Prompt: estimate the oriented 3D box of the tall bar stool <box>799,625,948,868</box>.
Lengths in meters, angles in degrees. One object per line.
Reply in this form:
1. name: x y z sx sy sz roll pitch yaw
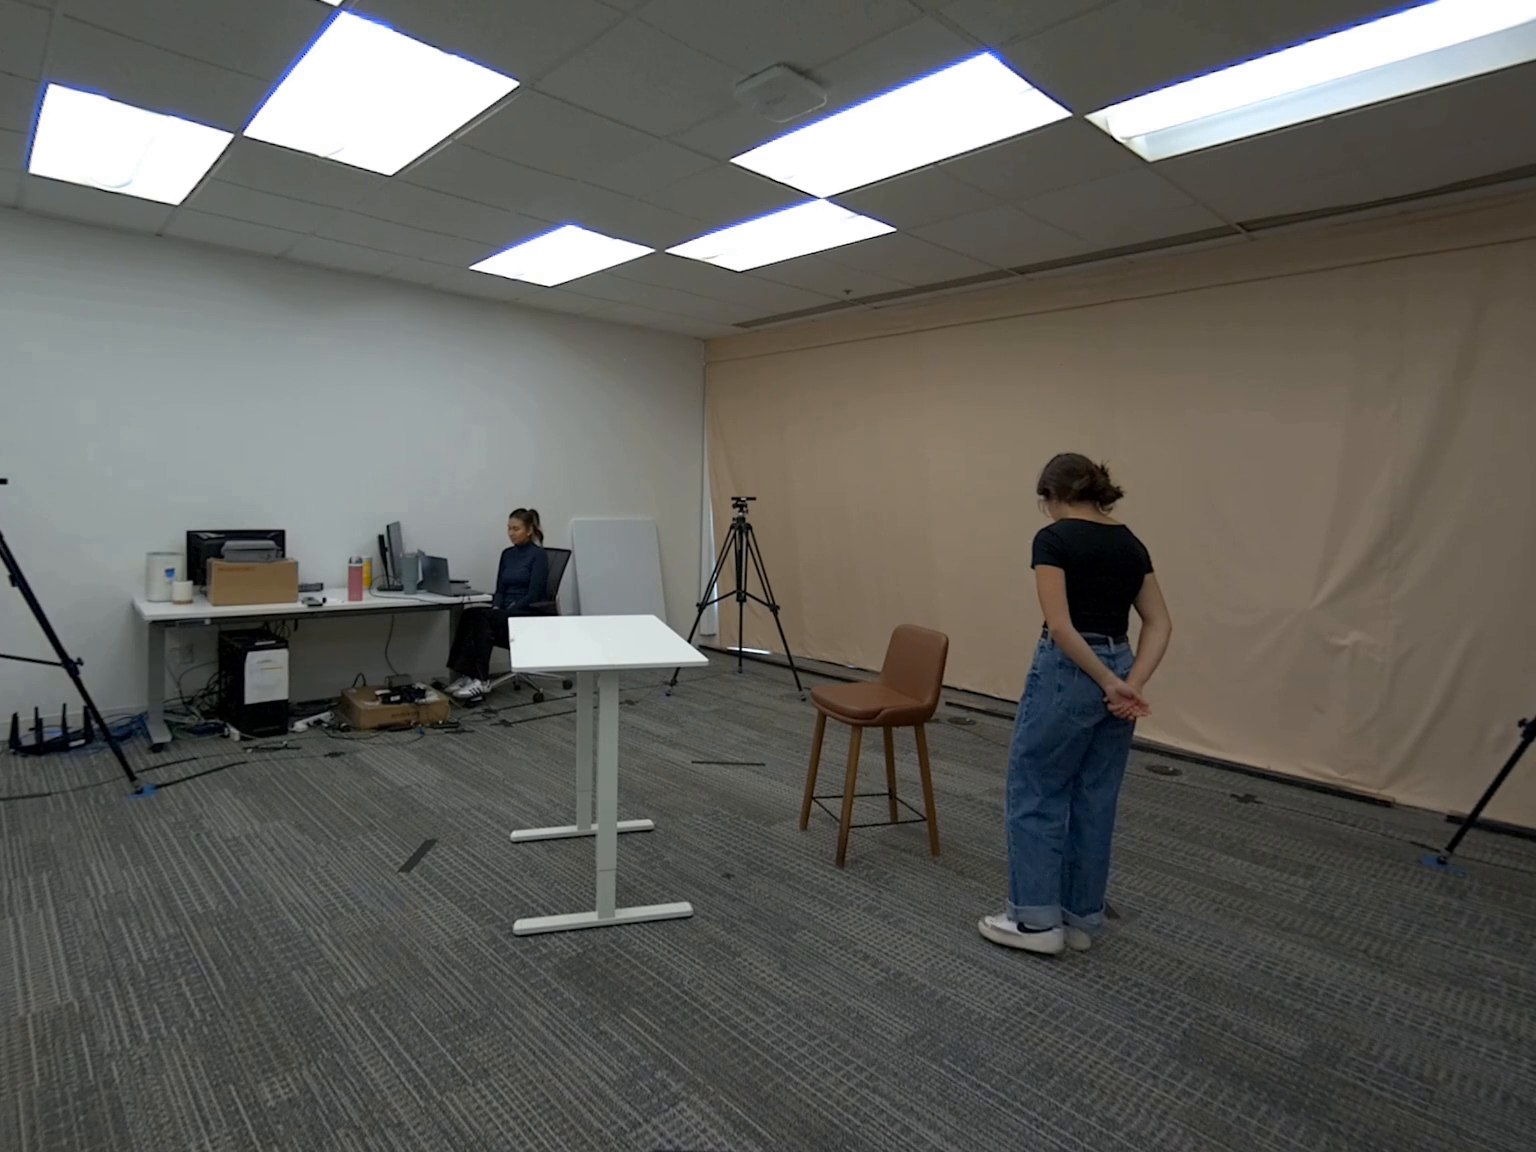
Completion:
1. tall bar stool: 0.418 0.658 3.426 0.461 0.888 0.464 2 3 -19
